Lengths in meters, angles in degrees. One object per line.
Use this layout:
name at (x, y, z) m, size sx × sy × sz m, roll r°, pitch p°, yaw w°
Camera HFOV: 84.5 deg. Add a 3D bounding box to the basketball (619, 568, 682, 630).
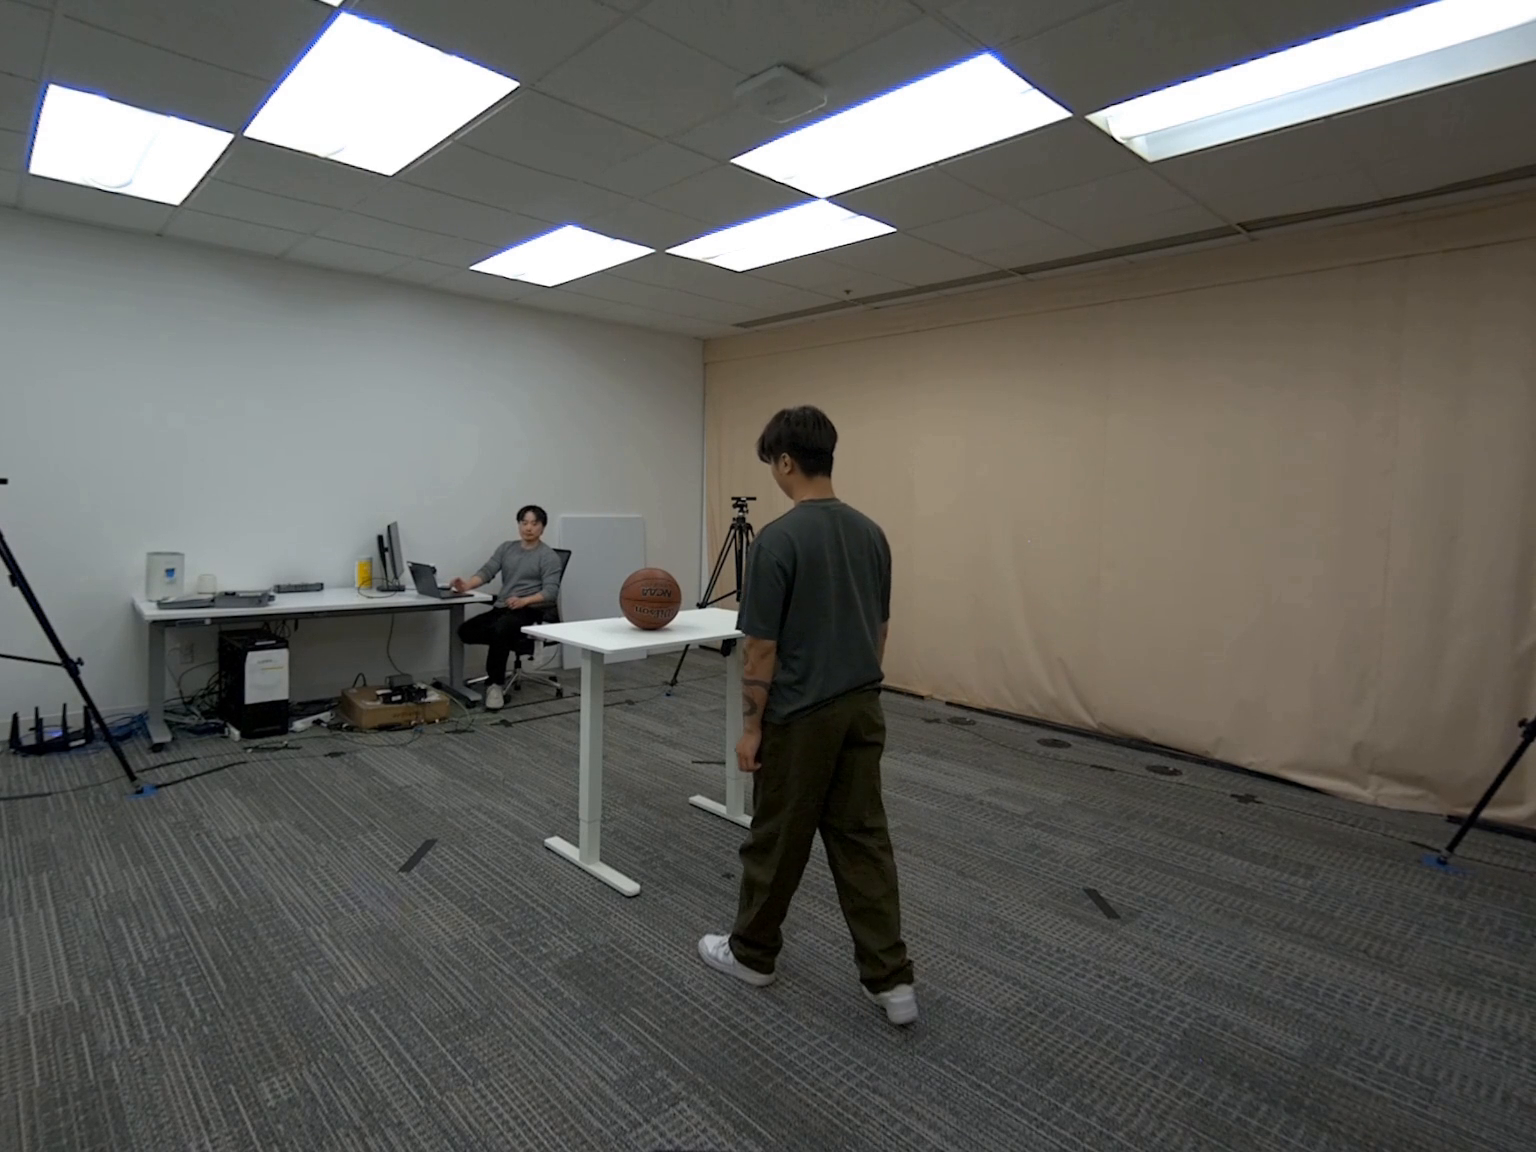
basketball at (-0.456, 0.087, 3.244) m, size 0.236 × 0.235 × 0.237 m, roll 1°, pitch 4°, yaw -1°
